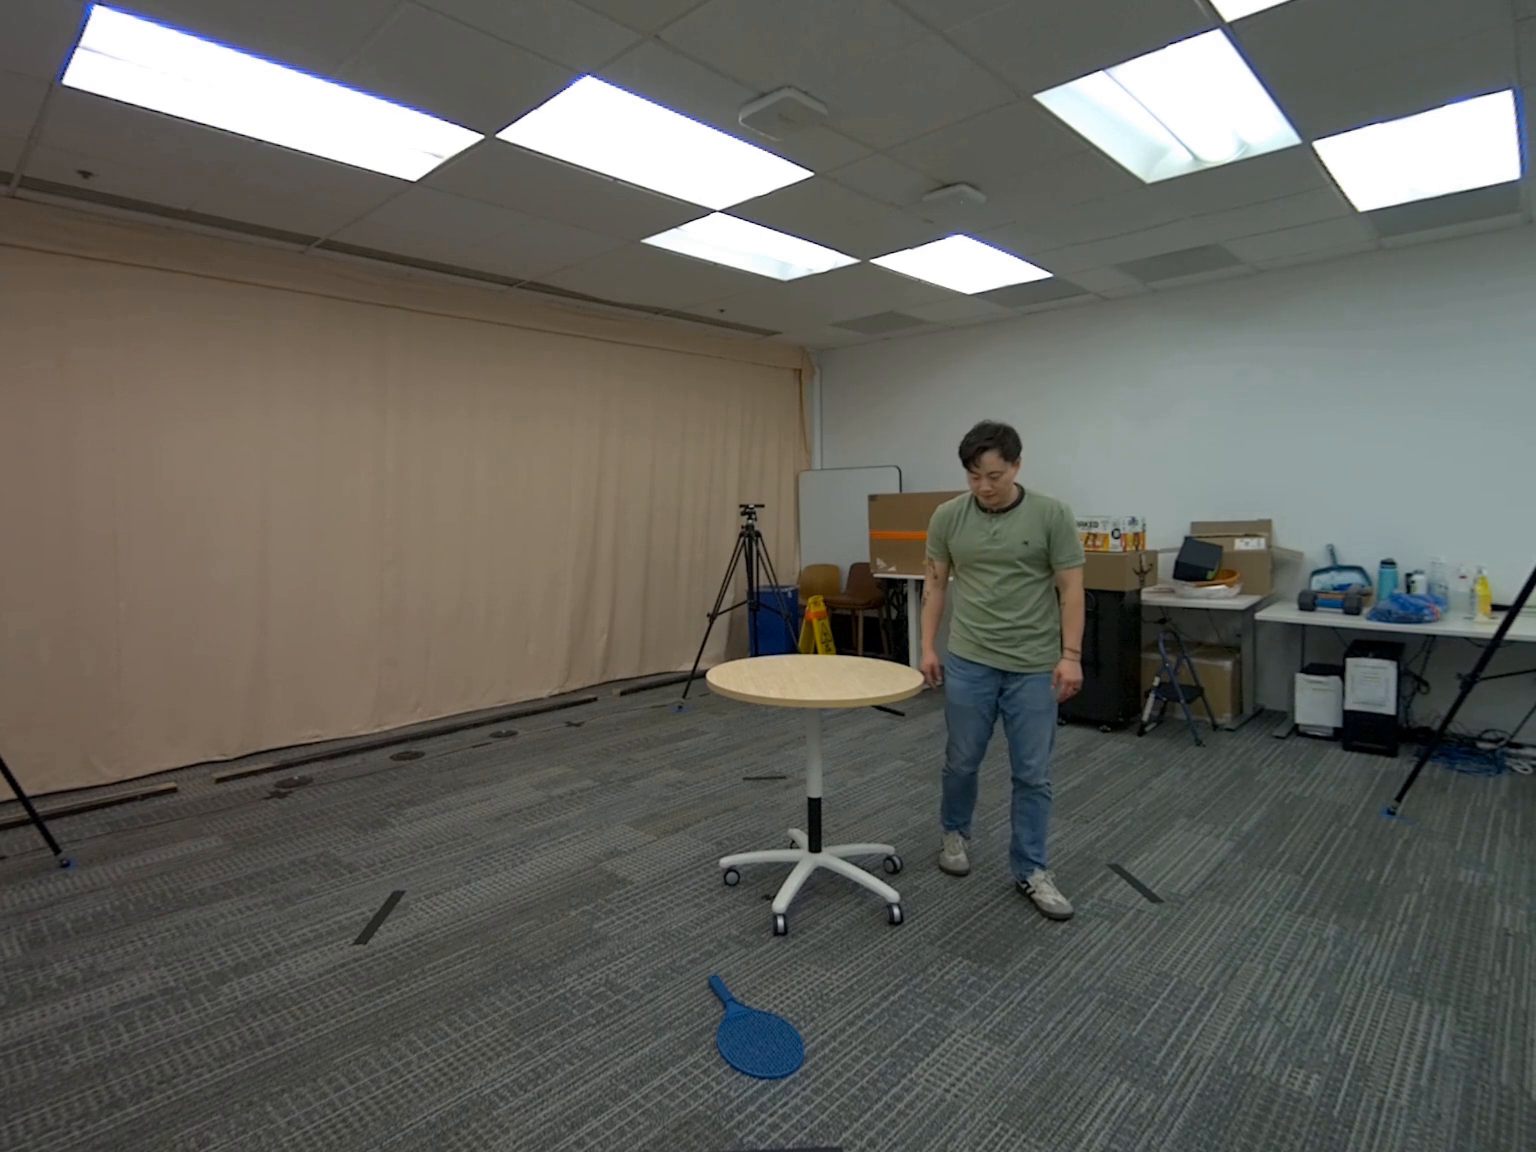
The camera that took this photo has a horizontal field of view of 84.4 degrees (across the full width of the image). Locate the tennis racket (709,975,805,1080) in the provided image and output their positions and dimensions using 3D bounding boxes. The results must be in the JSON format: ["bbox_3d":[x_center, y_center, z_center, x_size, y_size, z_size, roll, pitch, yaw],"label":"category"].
[{"bbox_3d":[-0.058,1.191,2.244,0.208,0.031,0.445,-4,7,-28],"label":"tennis racket"}]
